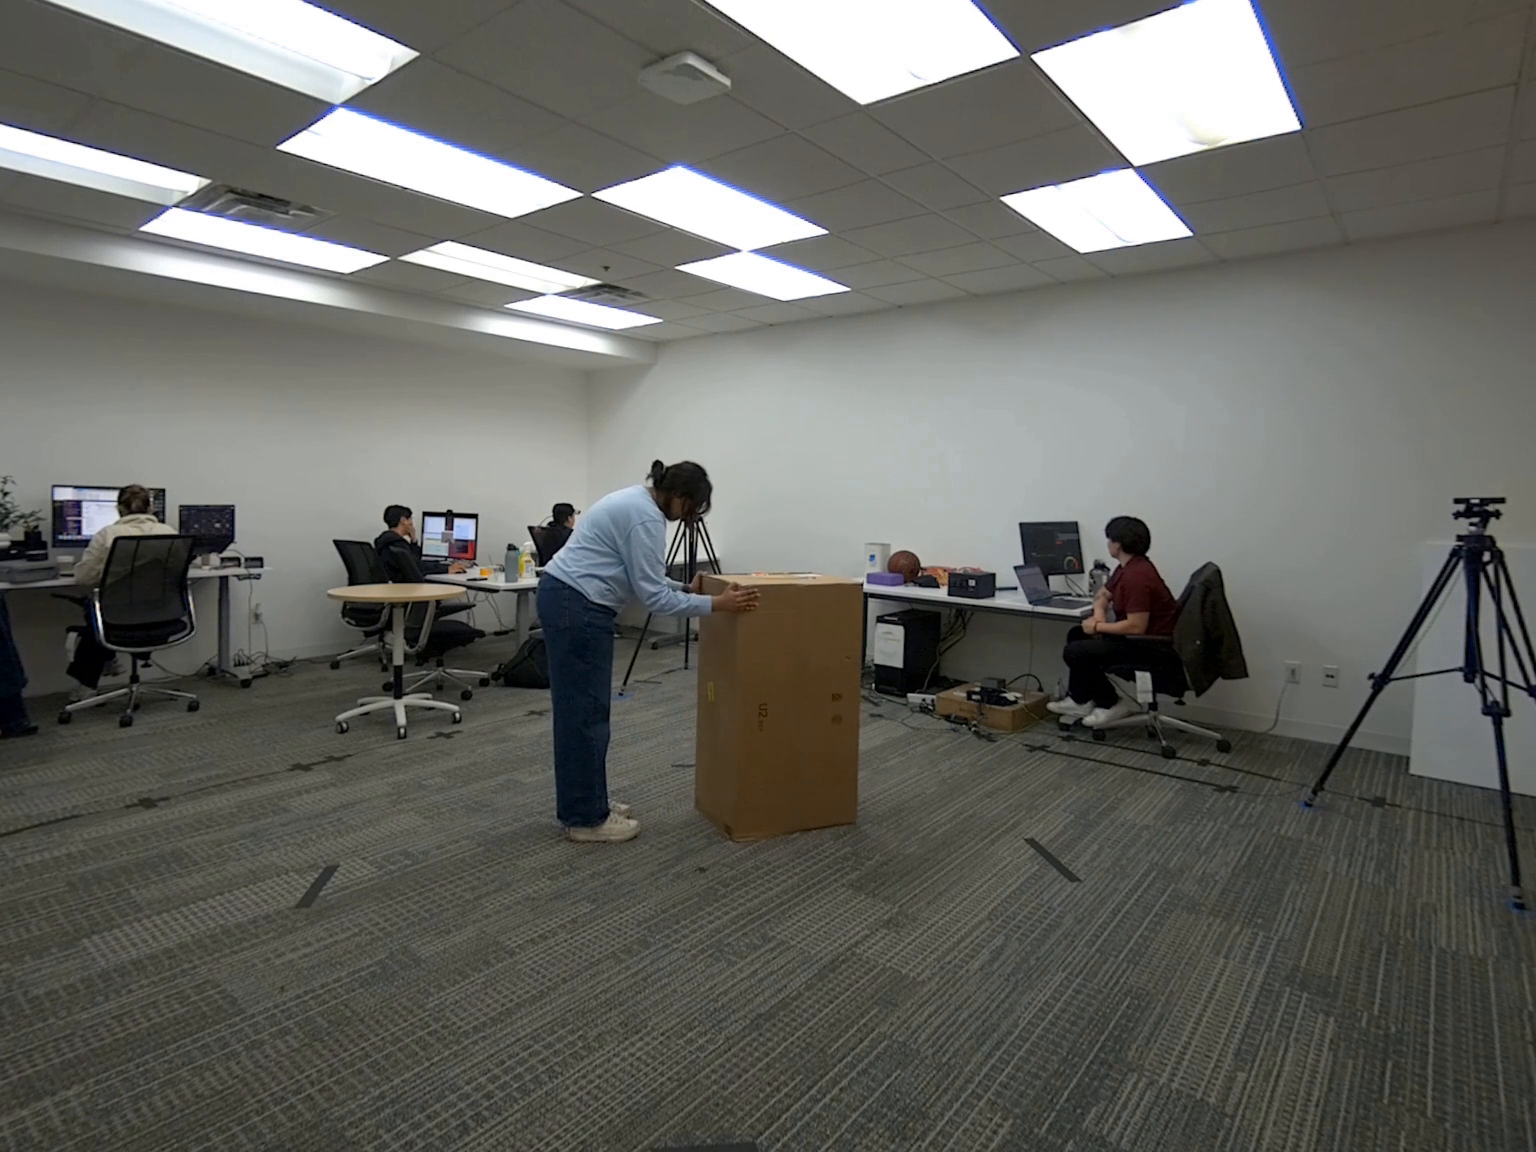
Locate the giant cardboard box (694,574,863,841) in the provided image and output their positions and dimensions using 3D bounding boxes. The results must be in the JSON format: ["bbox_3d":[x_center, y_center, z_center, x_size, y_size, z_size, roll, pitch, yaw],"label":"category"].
[{"bbox_3d":[0.031,0.520,3.635,0.564,1.023,0.438,0,3,-25],"label":"giant cardboard box"}]
